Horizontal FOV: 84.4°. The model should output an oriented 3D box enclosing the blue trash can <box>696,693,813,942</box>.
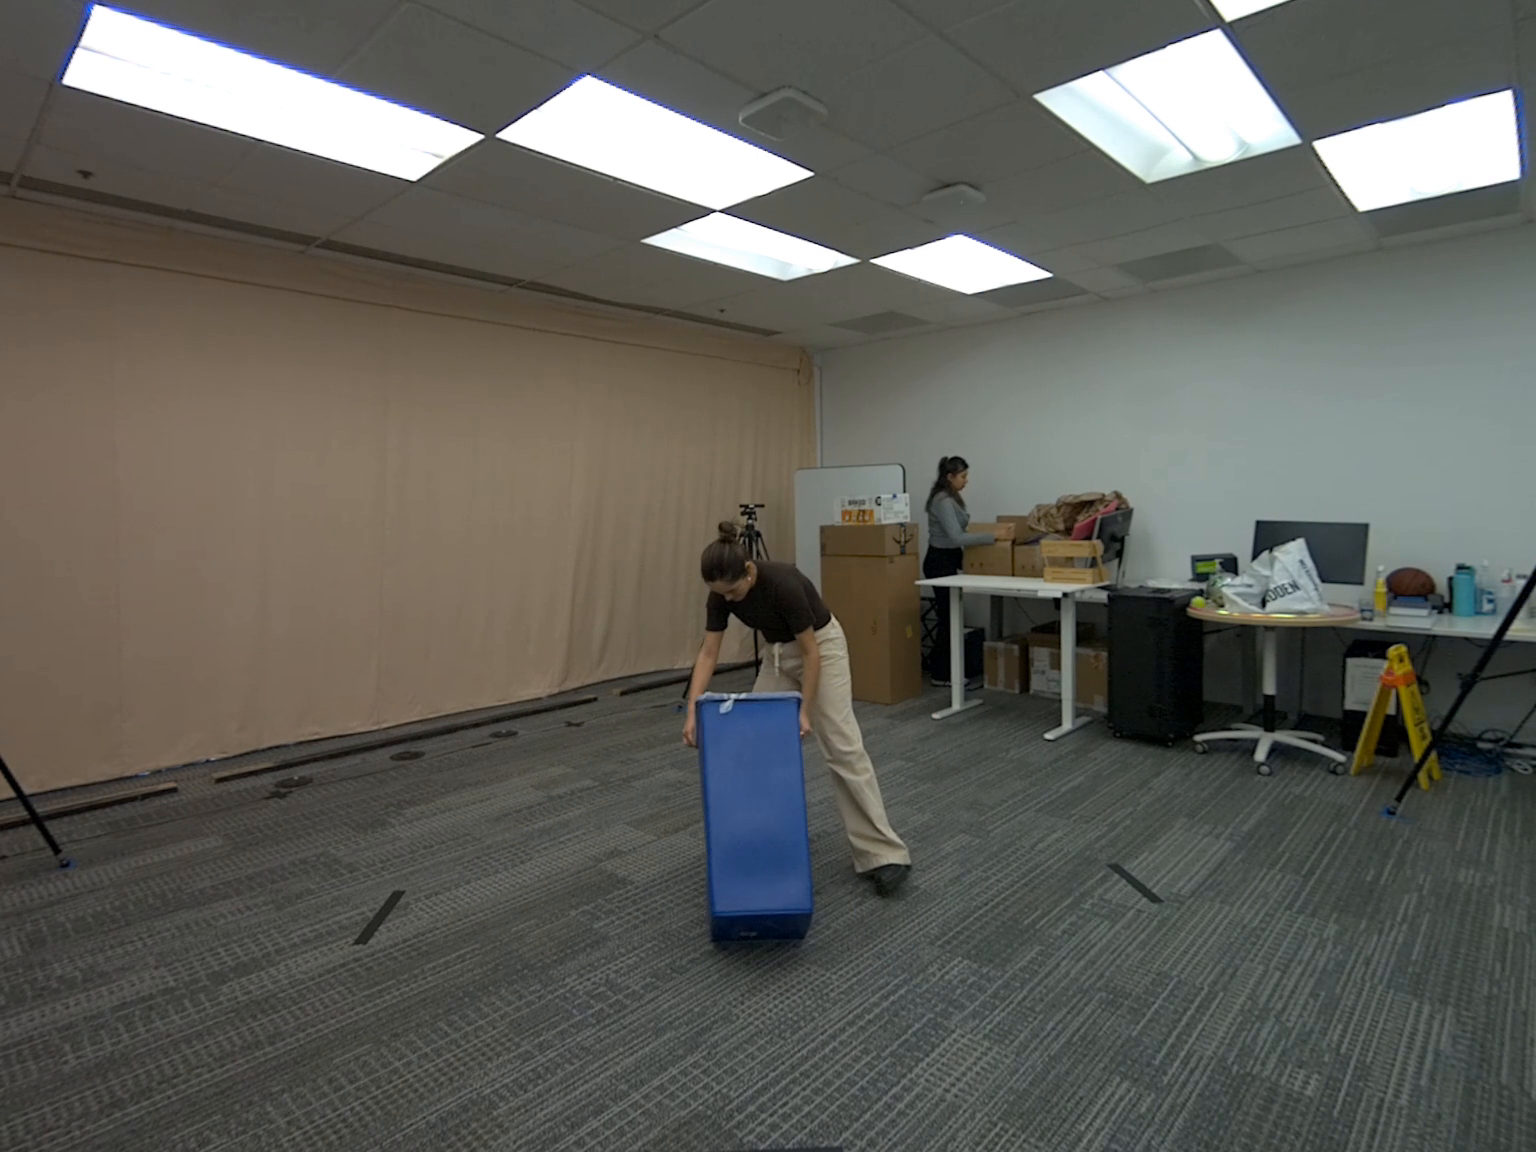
[{"bbox_3d":[-0.049,0.797,2.788,0.377,0.728,0.367,-2,-38,-3],"label":"blue trash can"}]
